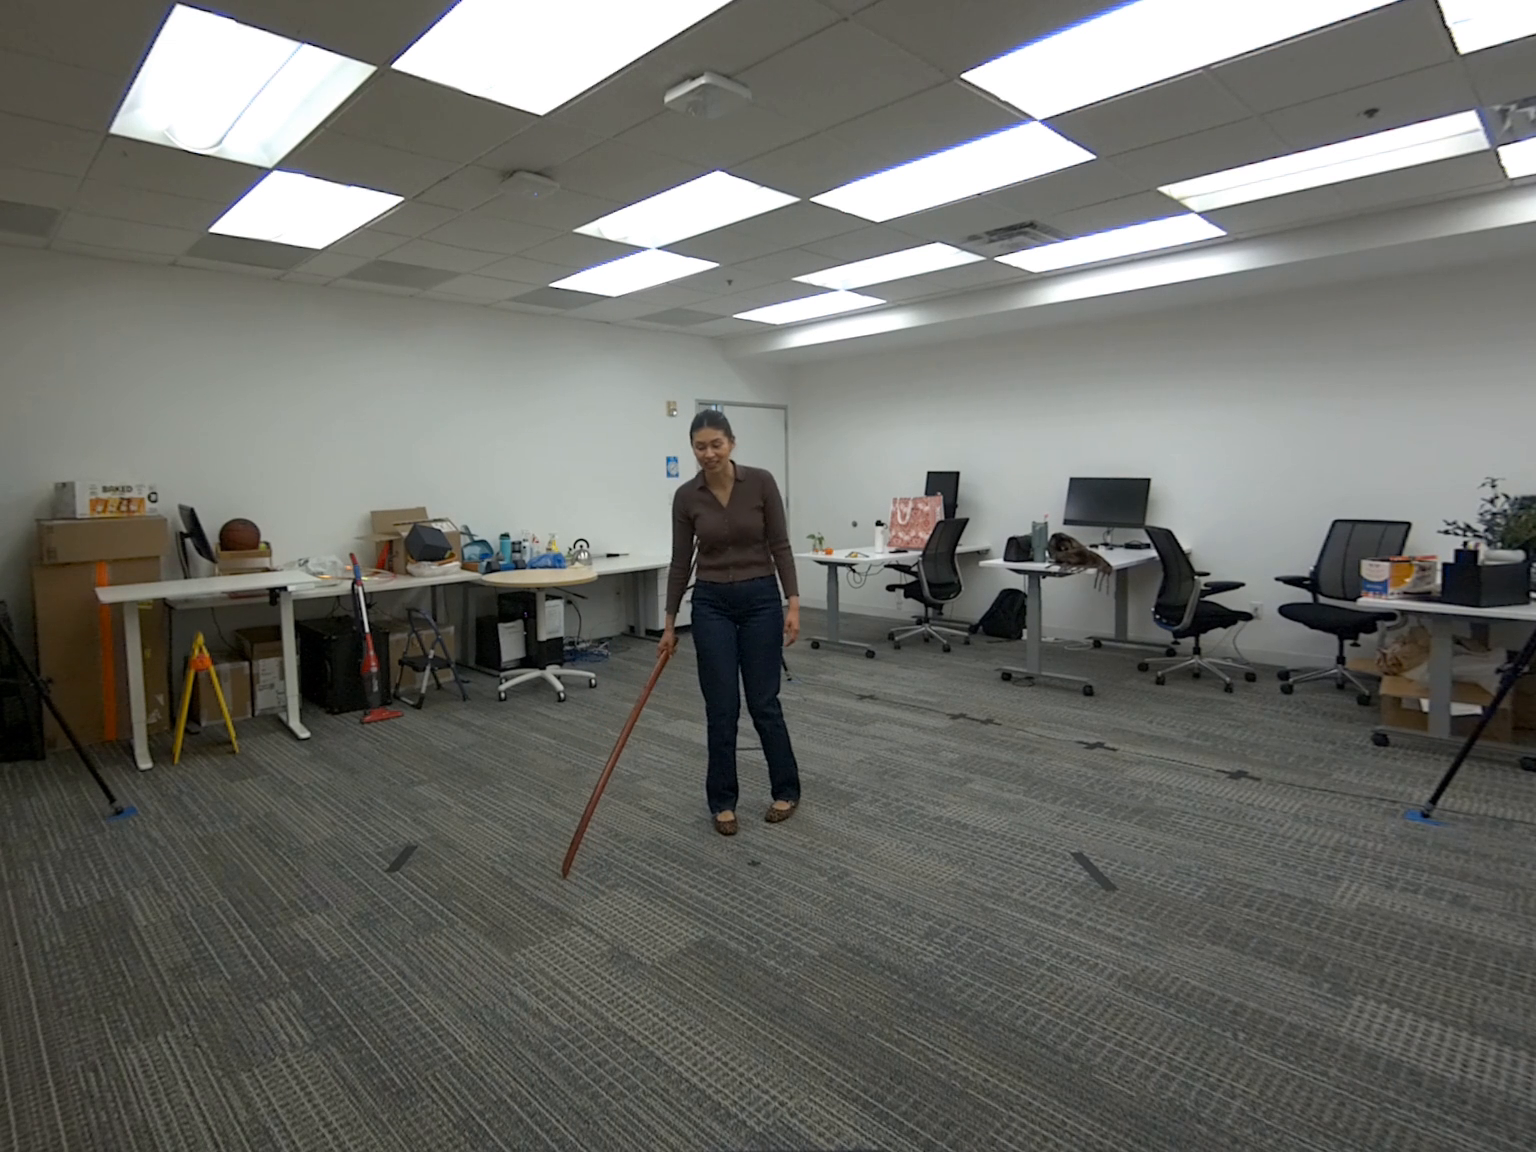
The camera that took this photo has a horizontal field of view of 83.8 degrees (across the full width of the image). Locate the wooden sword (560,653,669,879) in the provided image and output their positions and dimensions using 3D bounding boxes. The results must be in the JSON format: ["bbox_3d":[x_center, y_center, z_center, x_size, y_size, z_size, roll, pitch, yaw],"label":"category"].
[{"bbox_3d":[-0.557,0.661,3.280,0.052,1.037,0.023,-8,-44,39],"label":"wooden sword"}]
